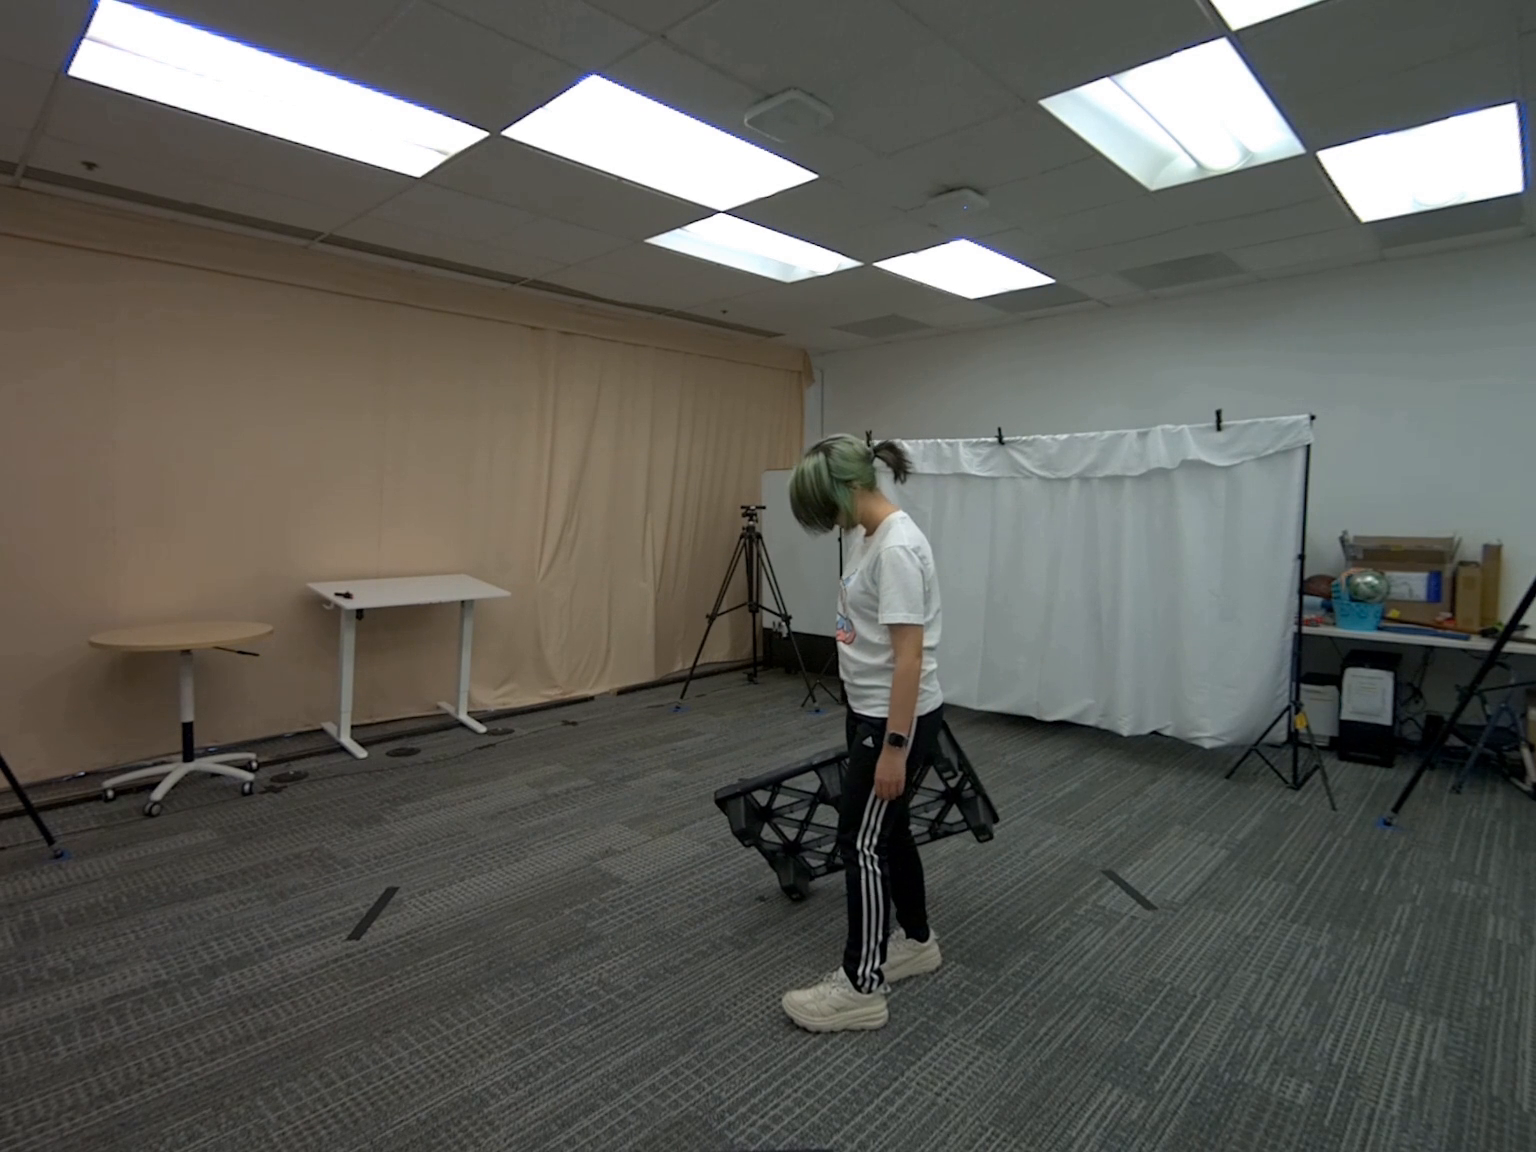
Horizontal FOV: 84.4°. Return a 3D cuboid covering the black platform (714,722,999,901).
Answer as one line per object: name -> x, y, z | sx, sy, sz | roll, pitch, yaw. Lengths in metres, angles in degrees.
black platform -> 0.309, 0.808, 2.792 | 0.815, 0.587, 0.146 | -22, 33, 15
